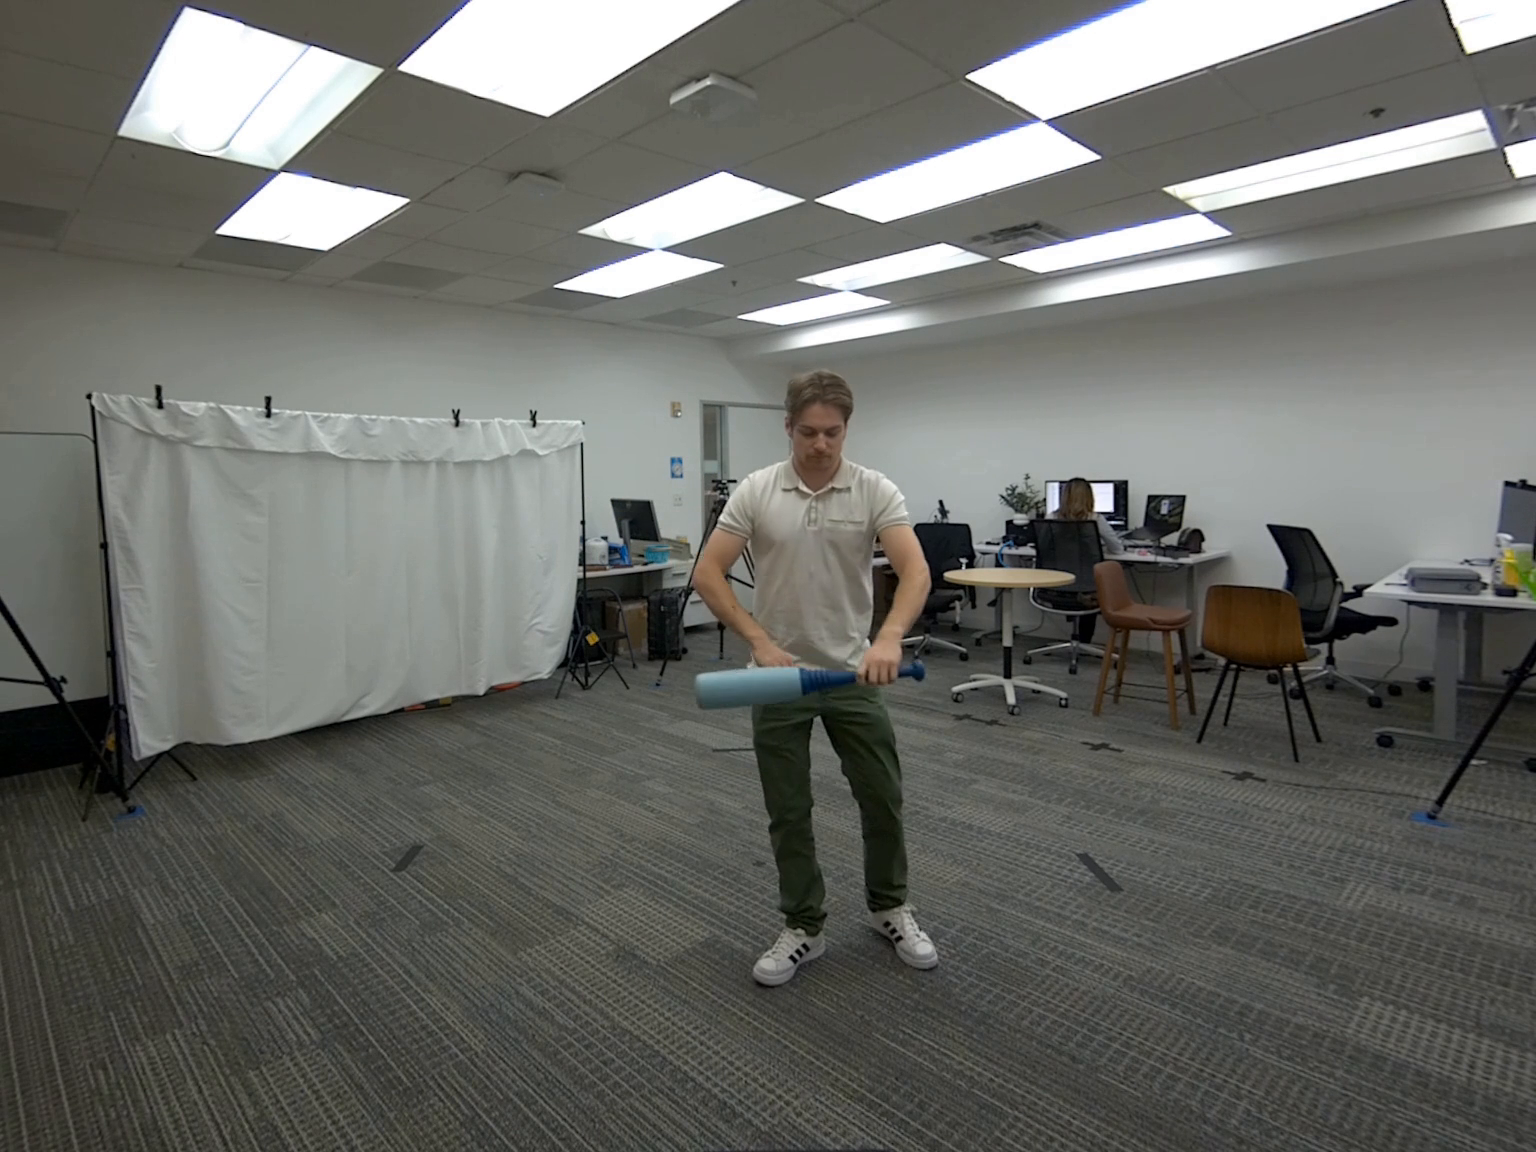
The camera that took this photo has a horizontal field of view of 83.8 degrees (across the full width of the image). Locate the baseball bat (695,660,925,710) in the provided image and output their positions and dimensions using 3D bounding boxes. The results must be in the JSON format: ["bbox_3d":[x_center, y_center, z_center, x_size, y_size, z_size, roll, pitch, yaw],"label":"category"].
[{"bbox_3d":[0.106,0.264,2.019,0.545,0.089,0.089,-6,5,3],"label":"baseball bat"}]
